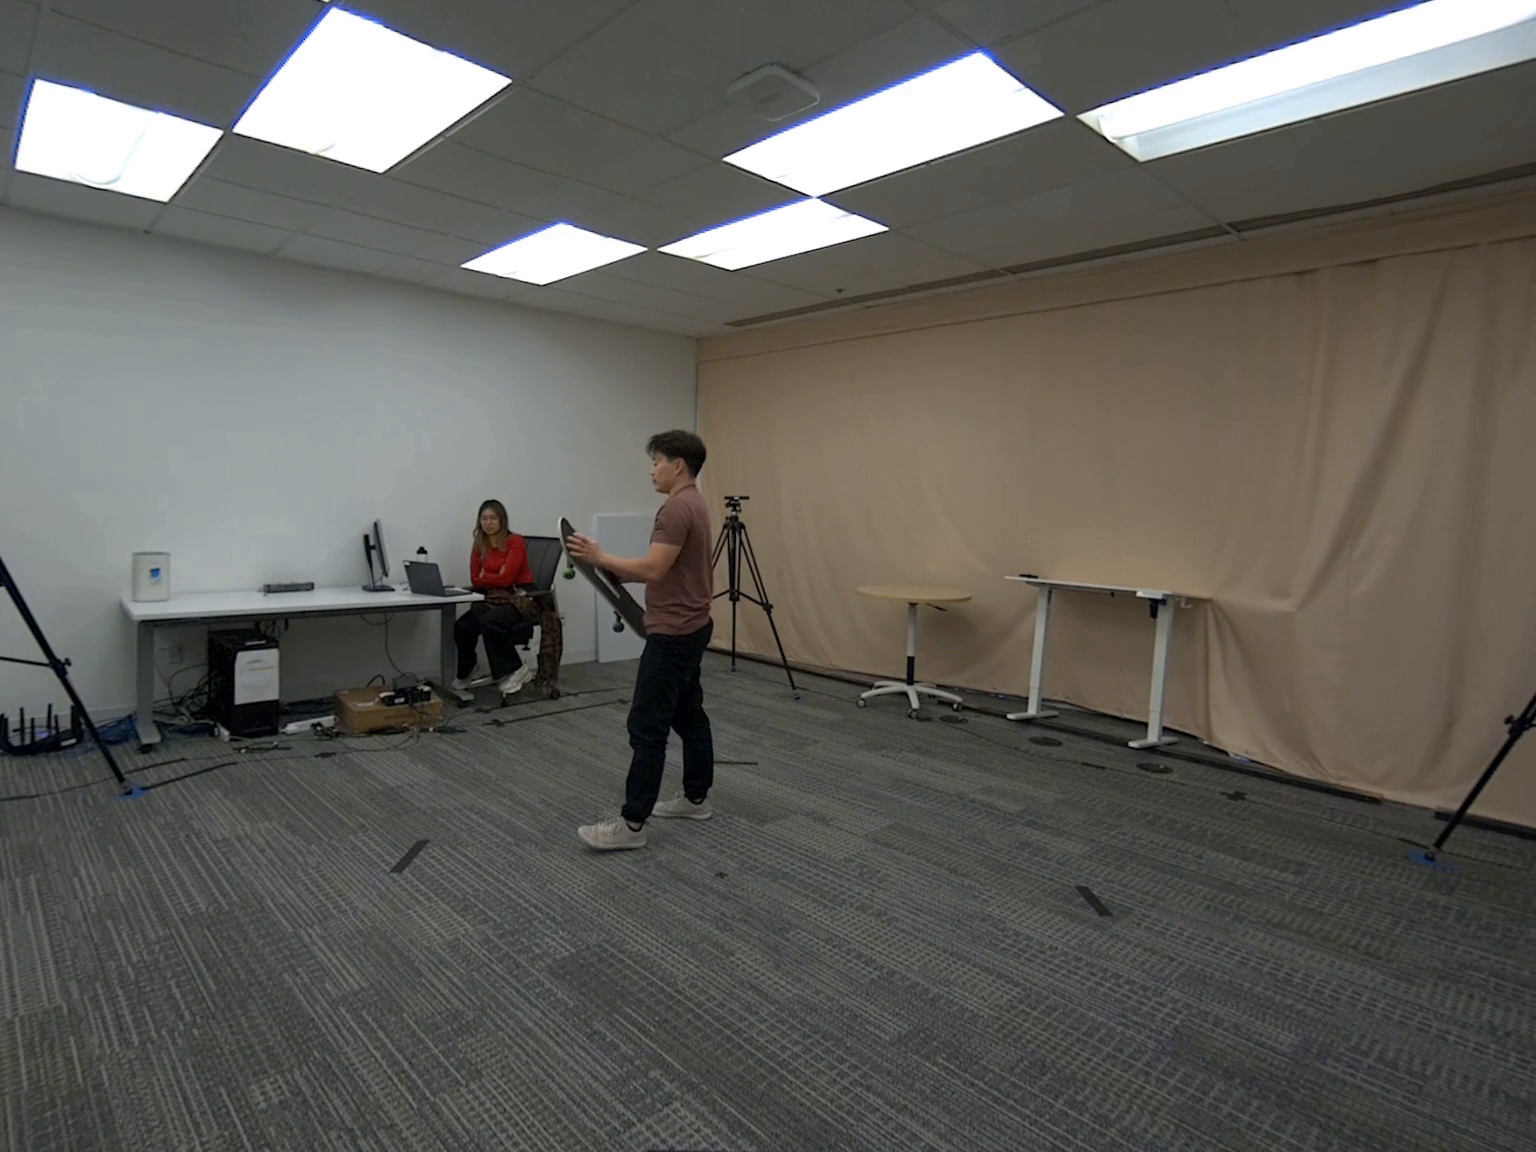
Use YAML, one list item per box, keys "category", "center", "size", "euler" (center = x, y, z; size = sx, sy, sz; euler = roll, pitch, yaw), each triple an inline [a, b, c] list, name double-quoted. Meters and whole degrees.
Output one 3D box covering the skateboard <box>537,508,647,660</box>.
- category: "skateboard"
  center: [-0.717, 0.048, 3.620]
  size: [0.111, 0.761, 0.199]
  euler: [-24, 43, 9]
